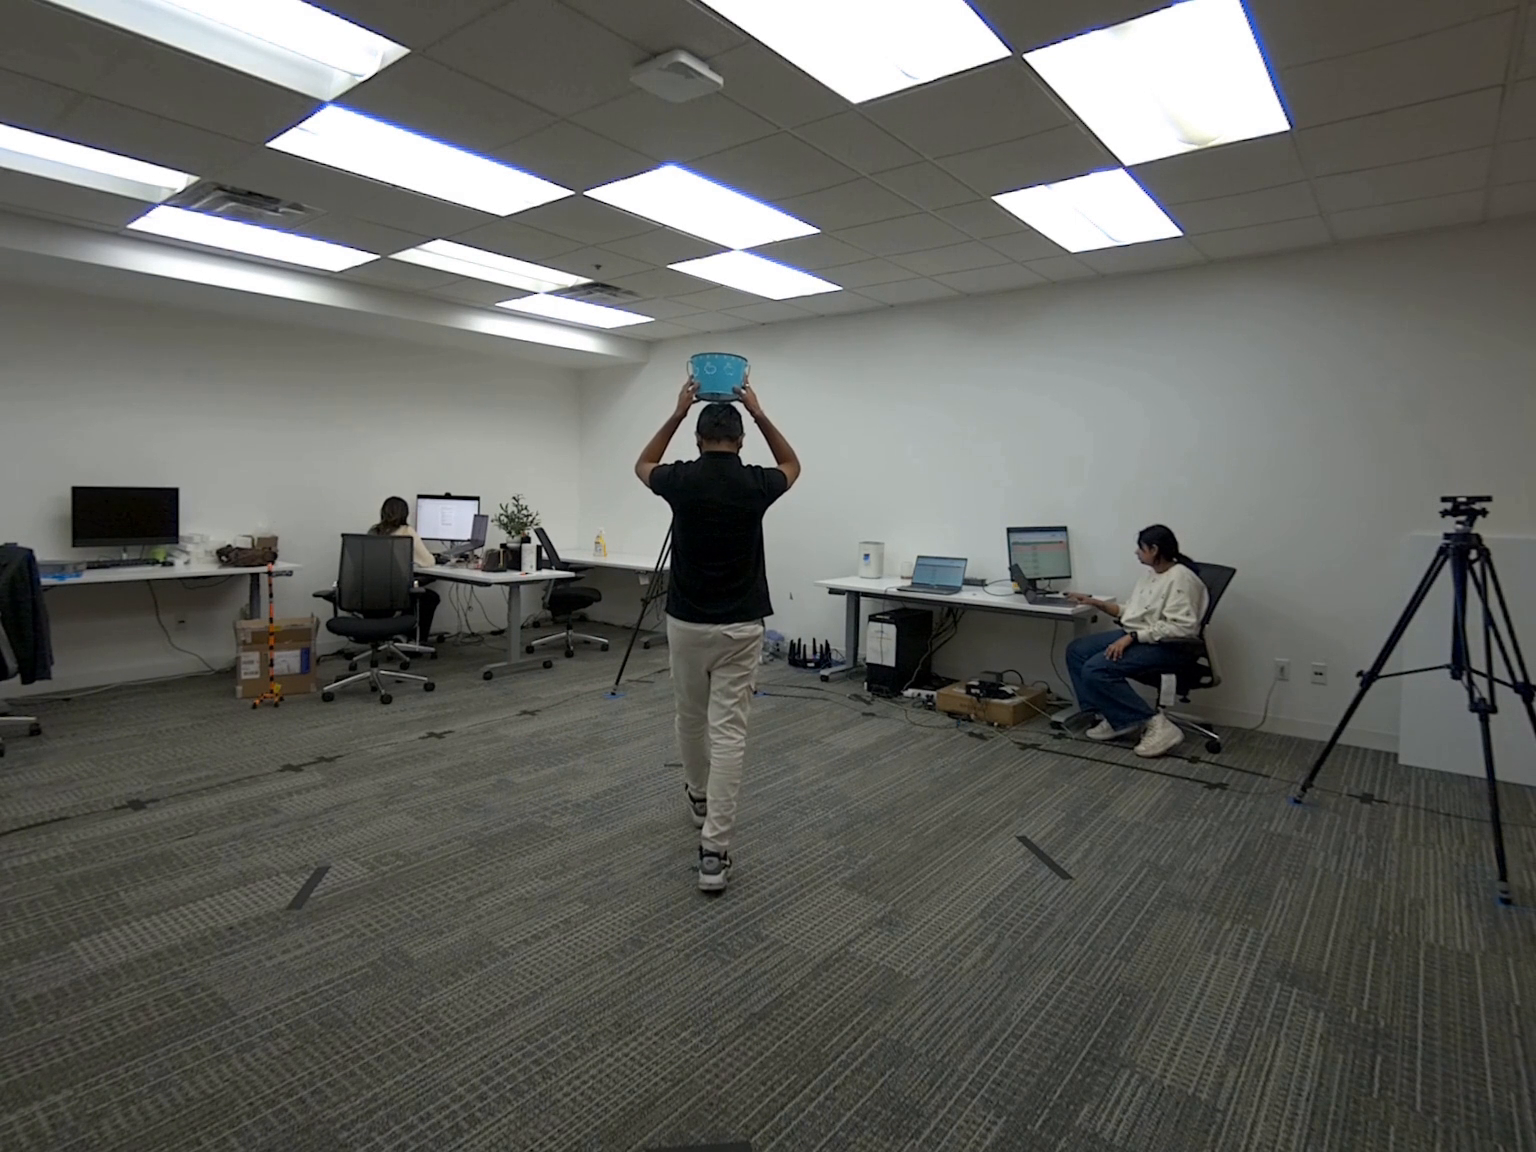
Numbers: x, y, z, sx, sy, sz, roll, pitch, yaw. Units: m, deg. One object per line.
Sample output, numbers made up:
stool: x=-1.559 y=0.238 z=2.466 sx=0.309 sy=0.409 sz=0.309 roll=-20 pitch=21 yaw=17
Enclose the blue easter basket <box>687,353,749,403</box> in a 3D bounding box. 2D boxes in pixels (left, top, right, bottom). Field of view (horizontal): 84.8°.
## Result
blue easter basket: x=-0.207 y=-0.791 z=3.375 sx=0.243 sy=0.156 sz=0.244 roll=3 pitch=0 yaw=-2
